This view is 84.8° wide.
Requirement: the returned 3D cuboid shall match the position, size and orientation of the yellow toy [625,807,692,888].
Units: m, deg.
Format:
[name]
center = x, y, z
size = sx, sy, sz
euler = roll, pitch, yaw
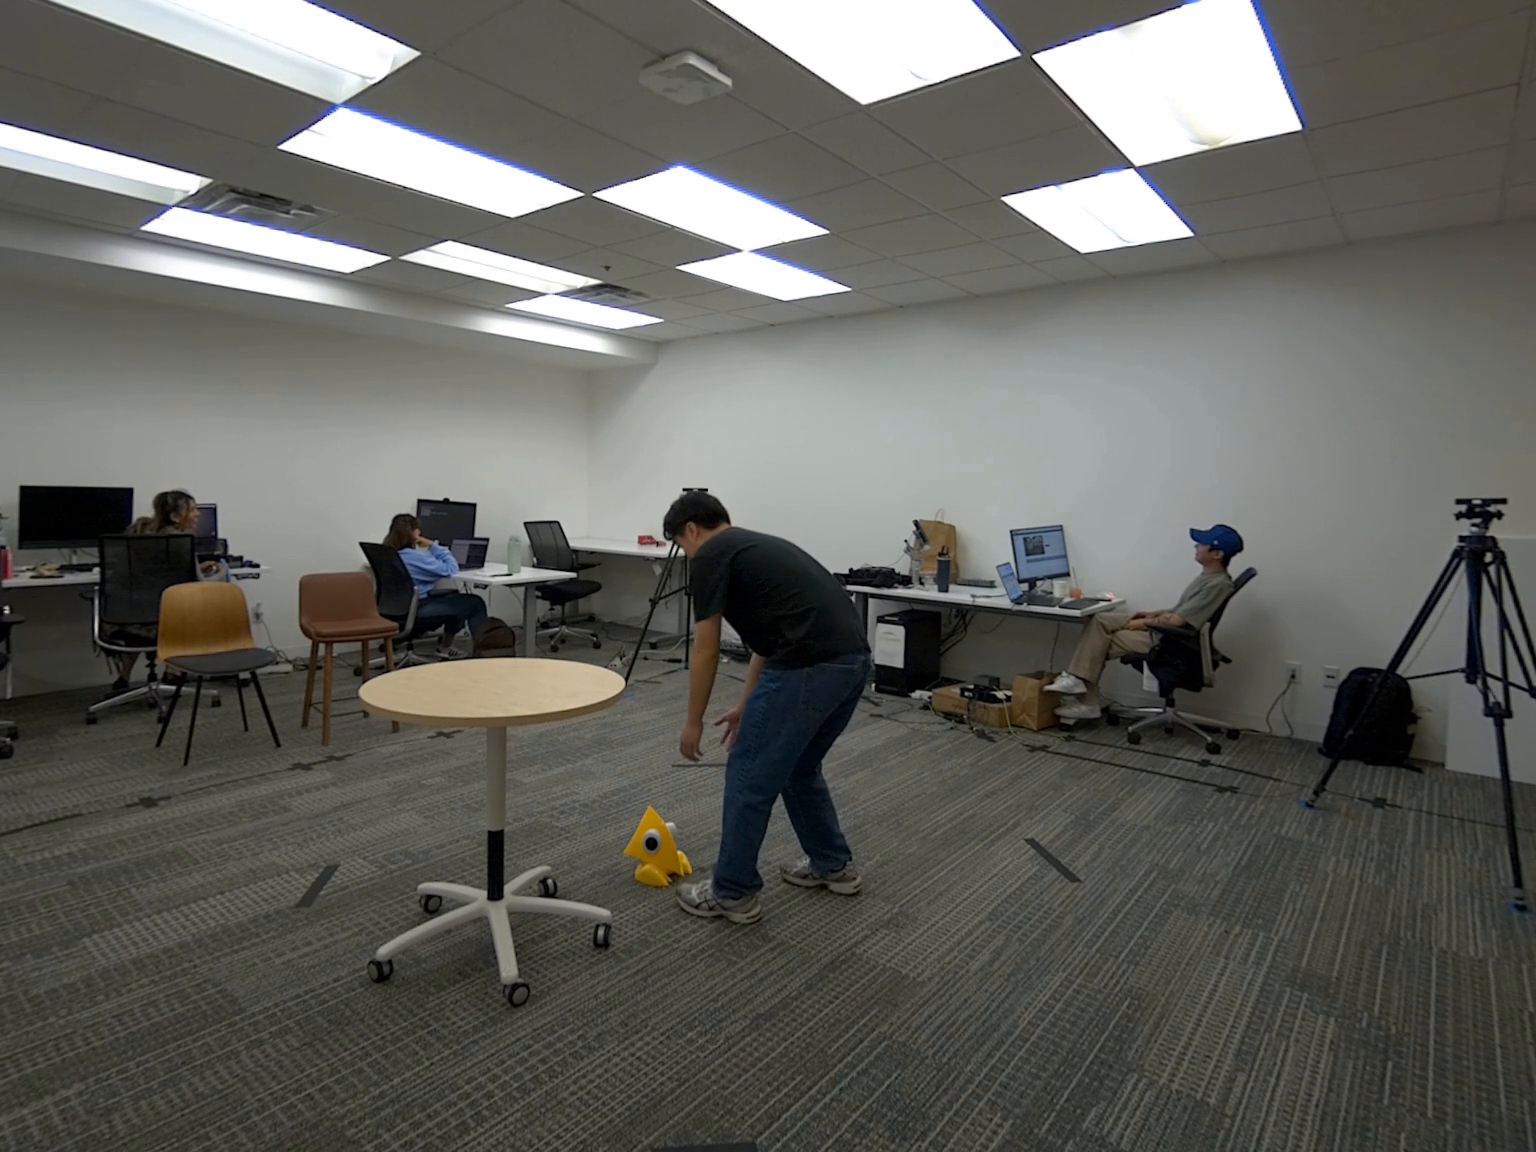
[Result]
[yellow toy]
center = -0.394, 0.956, 3.070
size = 0.199, 0.230, 0.199
euler = 3, 4, 38
